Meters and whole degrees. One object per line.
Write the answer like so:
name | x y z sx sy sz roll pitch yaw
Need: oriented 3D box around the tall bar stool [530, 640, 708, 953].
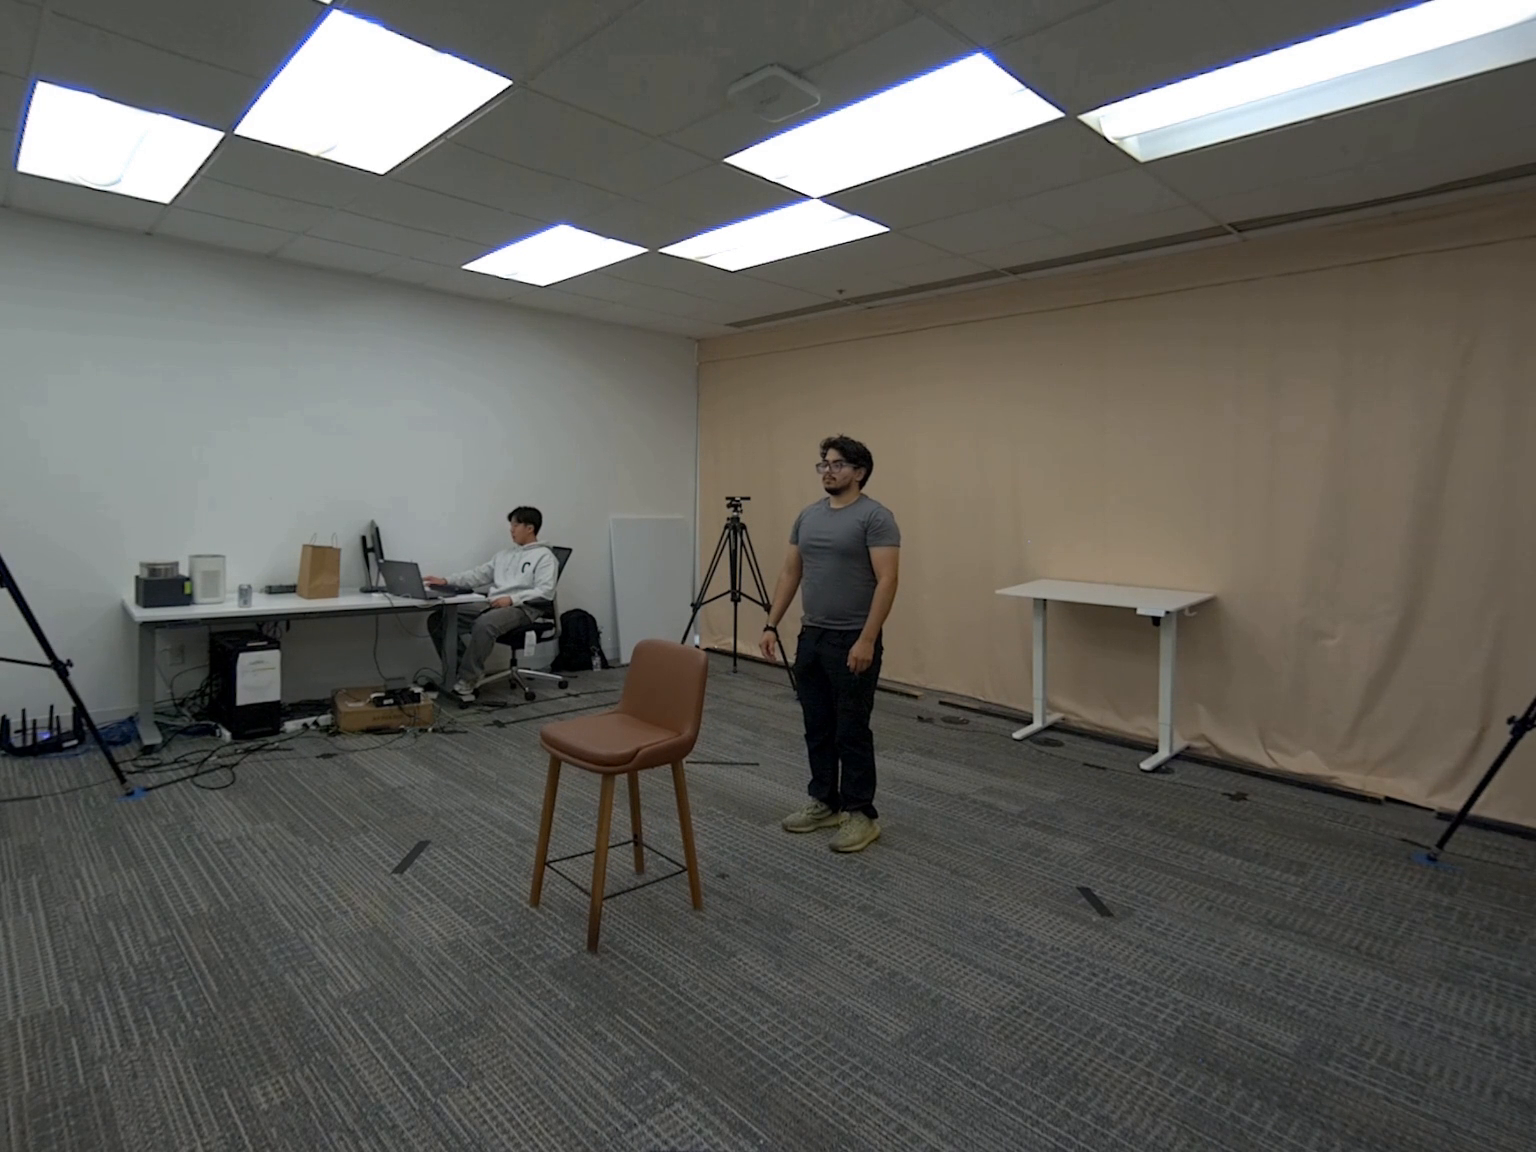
tall bar stool | -0.502 0.691 2.827 0.456 0.889 0.468 1 2 -41
